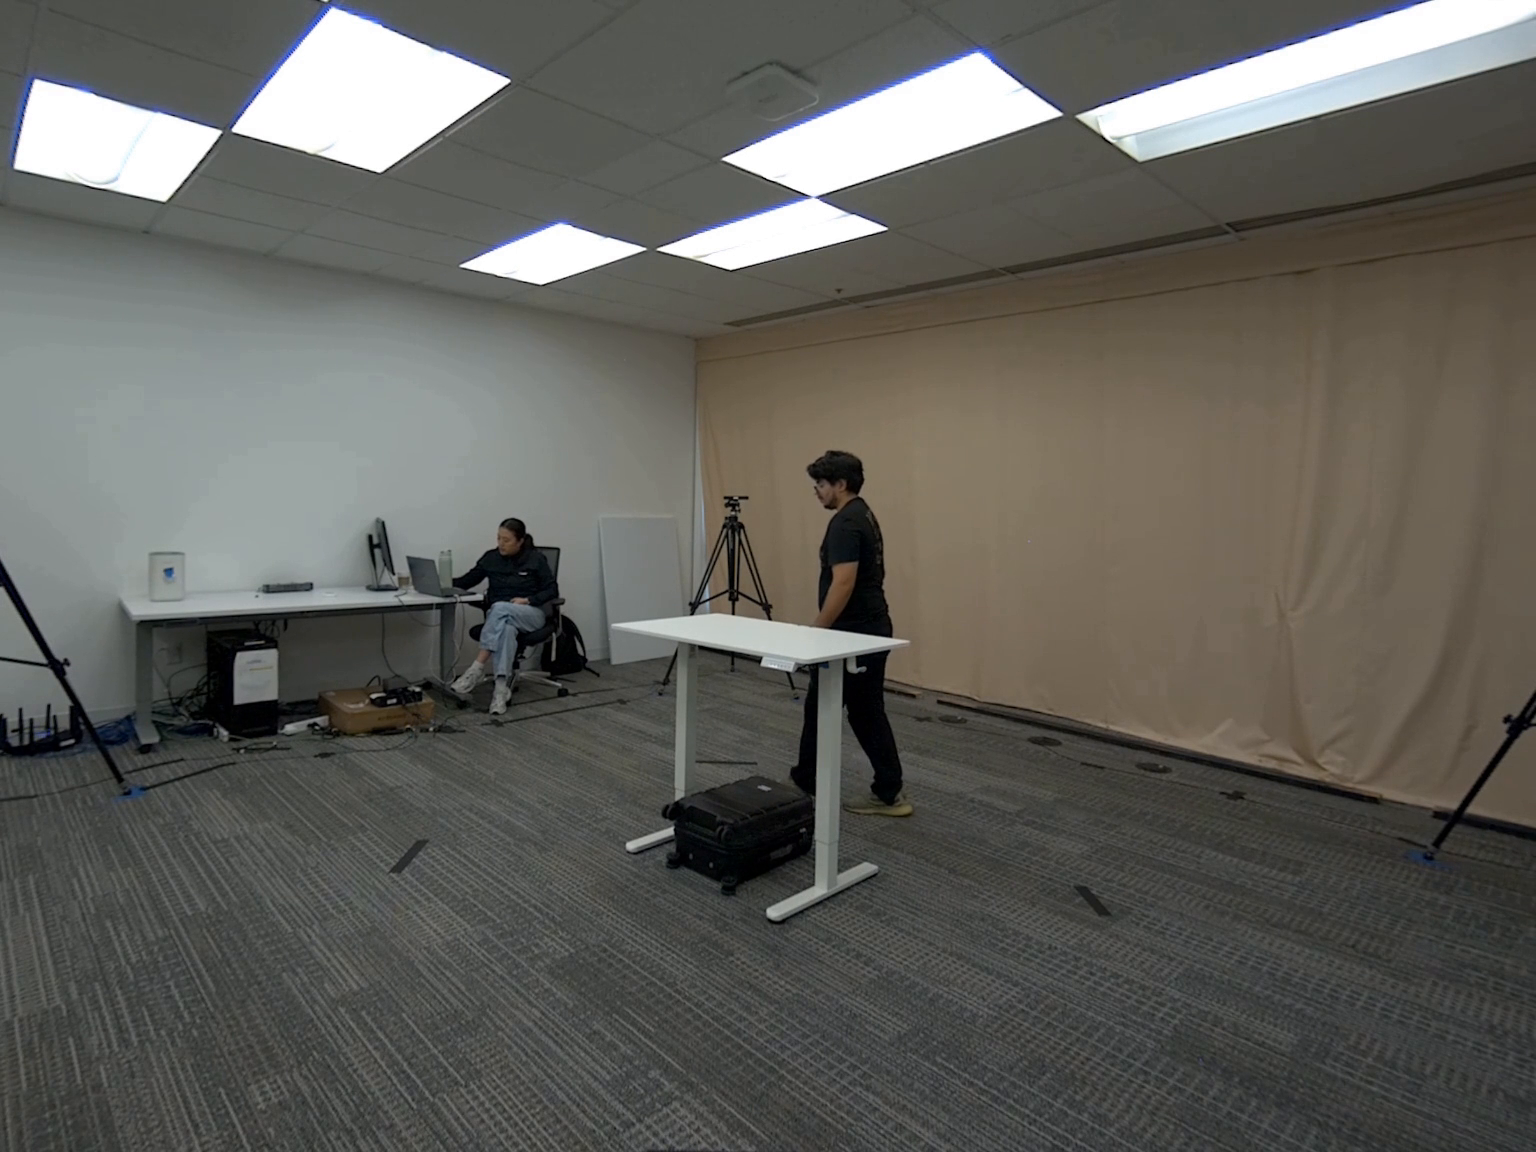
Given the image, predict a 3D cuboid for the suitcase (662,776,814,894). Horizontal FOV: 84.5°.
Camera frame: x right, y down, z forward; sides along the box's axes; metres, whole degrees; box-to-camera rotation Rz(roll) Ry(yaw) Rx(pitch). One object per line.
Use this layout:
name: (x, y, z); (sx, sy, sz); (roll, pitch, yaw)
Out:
suitcase: (-0.099, 0.975, 3.249); (0.385, 0.247, 0.537); (5, 6, 42)
